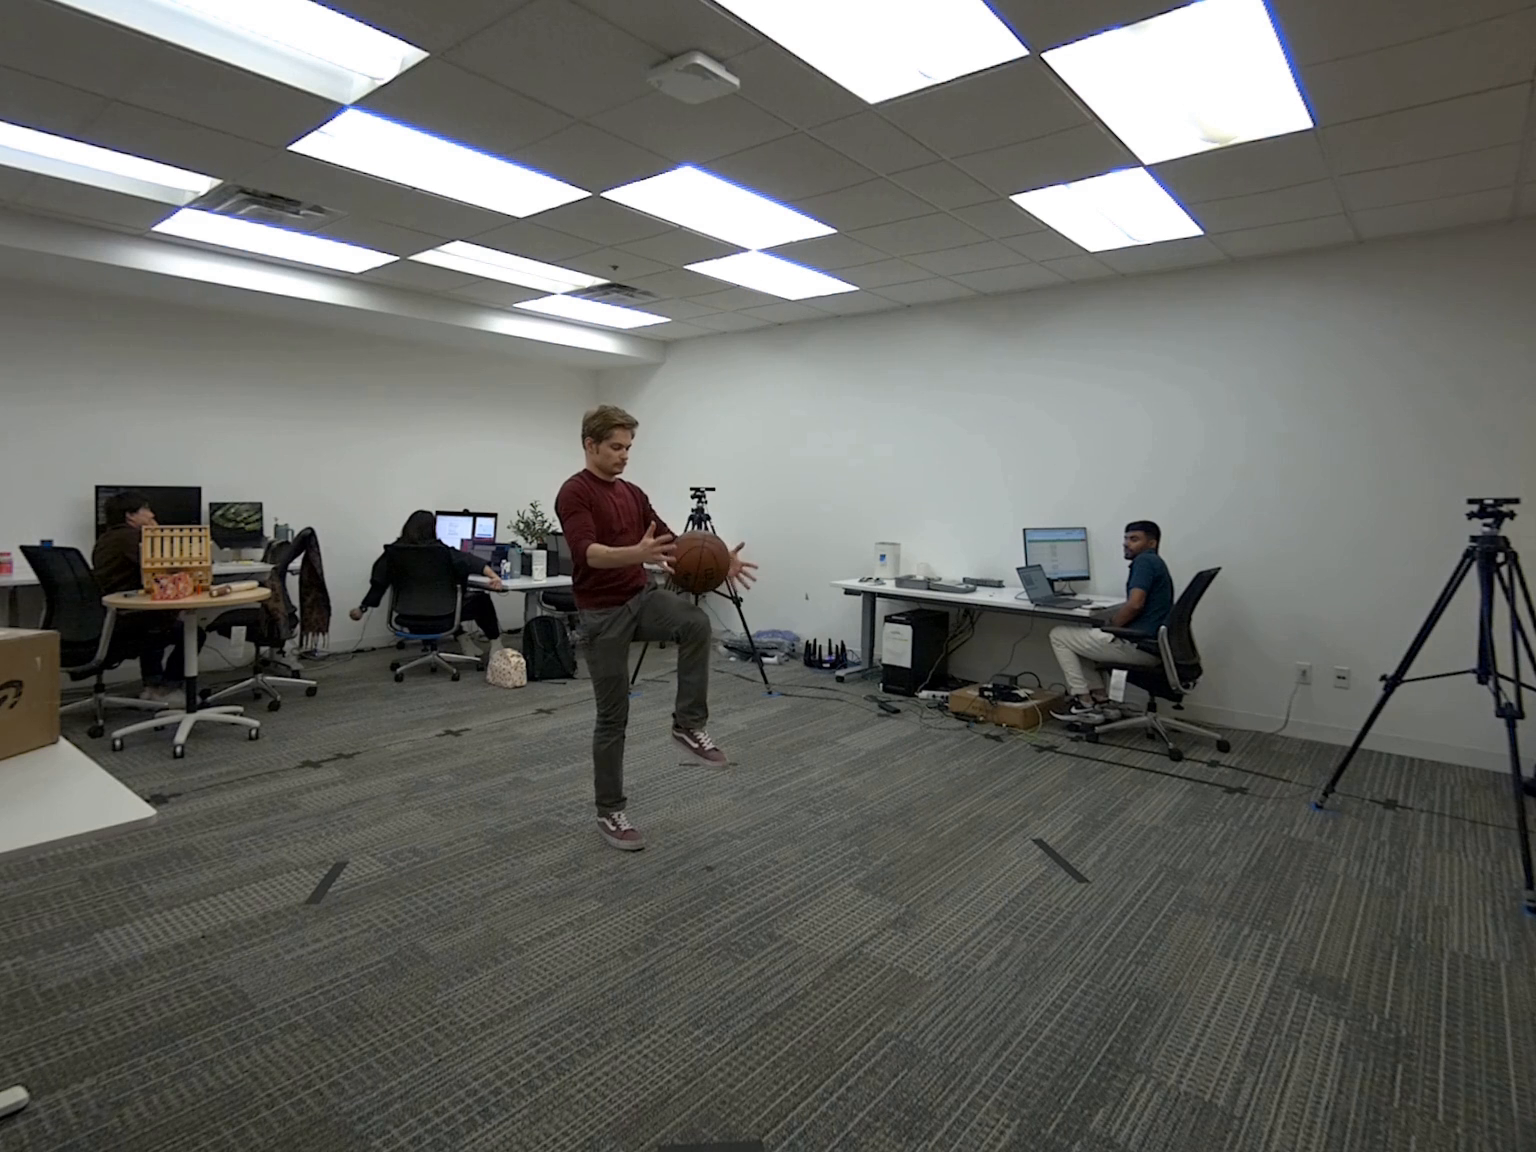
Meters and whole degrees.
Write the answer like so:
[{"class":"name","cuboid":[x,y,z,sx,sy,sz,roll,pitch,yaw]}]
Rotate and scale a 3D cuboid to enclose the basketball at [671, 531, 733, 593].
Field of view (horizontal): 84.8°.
[{"class":"basketball","cuboid":[-0.268,-0.101,3.153,0.235,0.235,0.237,1,4,-2]}]
